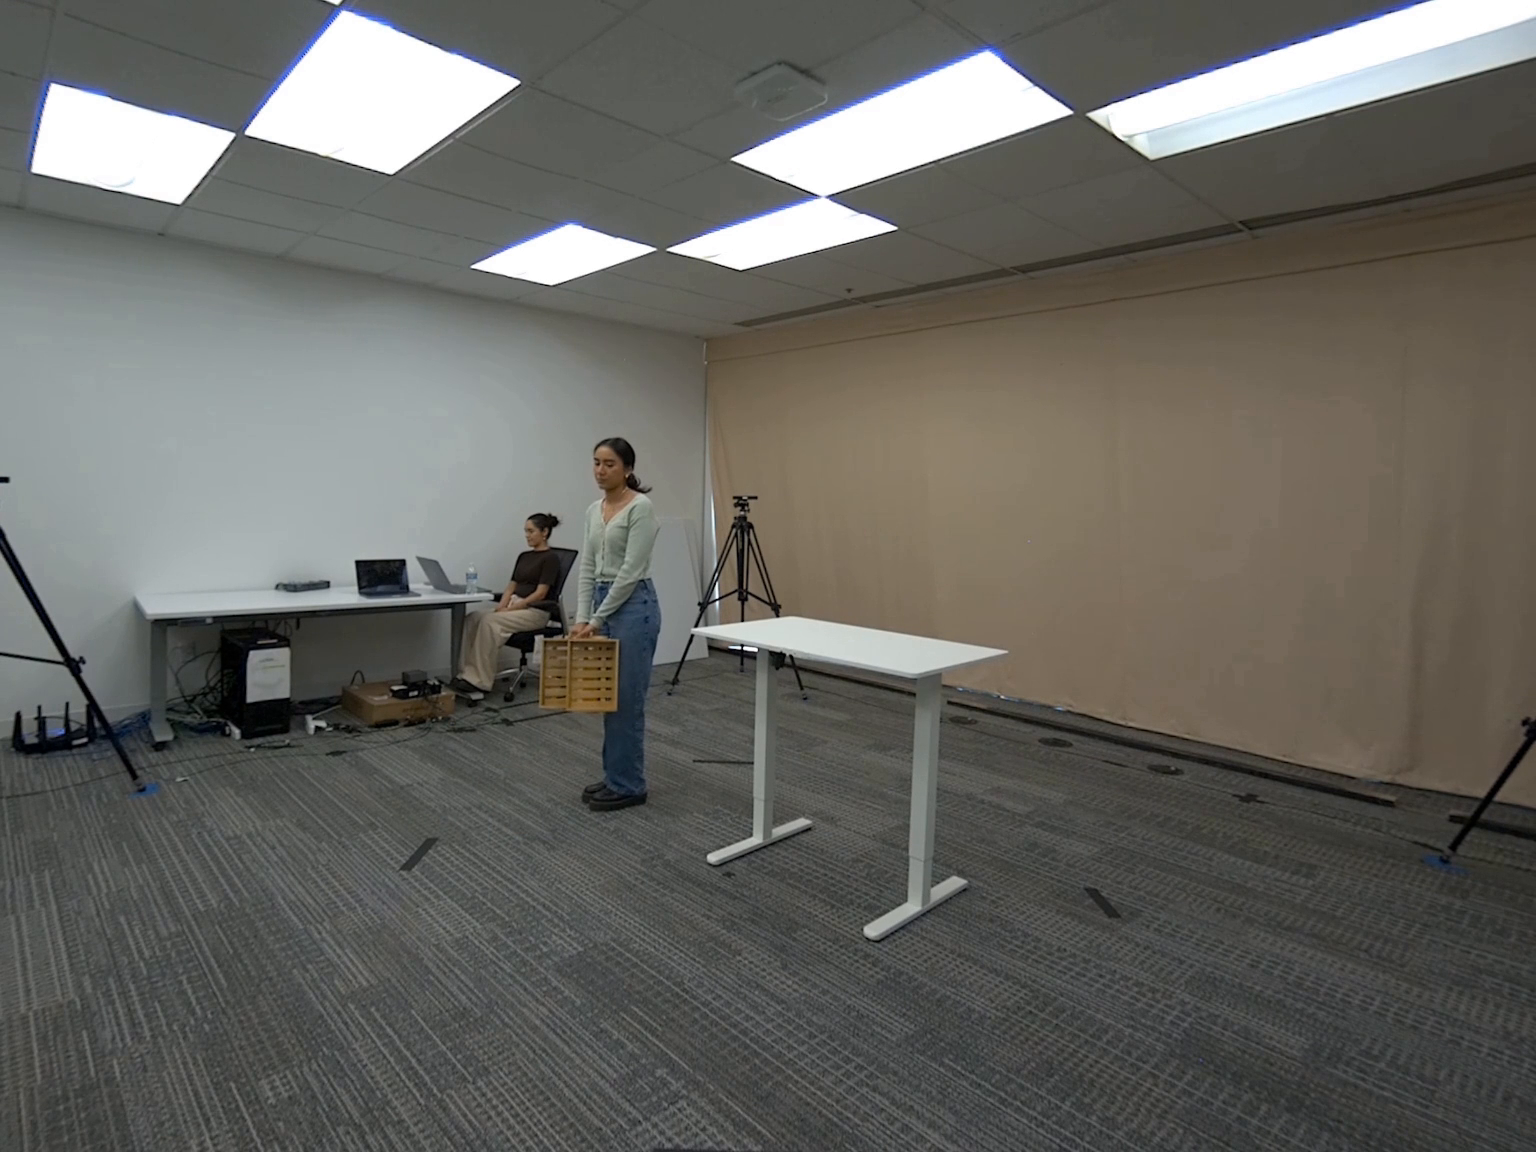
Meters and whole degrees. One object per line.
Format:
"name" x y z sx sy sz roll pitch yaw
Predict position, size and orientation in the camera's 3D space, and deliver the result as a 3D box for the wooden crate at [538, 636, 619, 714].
"wooden crate" -0.836 0.418 3.637 0.297 0.326 0.277 3 -5 -20
